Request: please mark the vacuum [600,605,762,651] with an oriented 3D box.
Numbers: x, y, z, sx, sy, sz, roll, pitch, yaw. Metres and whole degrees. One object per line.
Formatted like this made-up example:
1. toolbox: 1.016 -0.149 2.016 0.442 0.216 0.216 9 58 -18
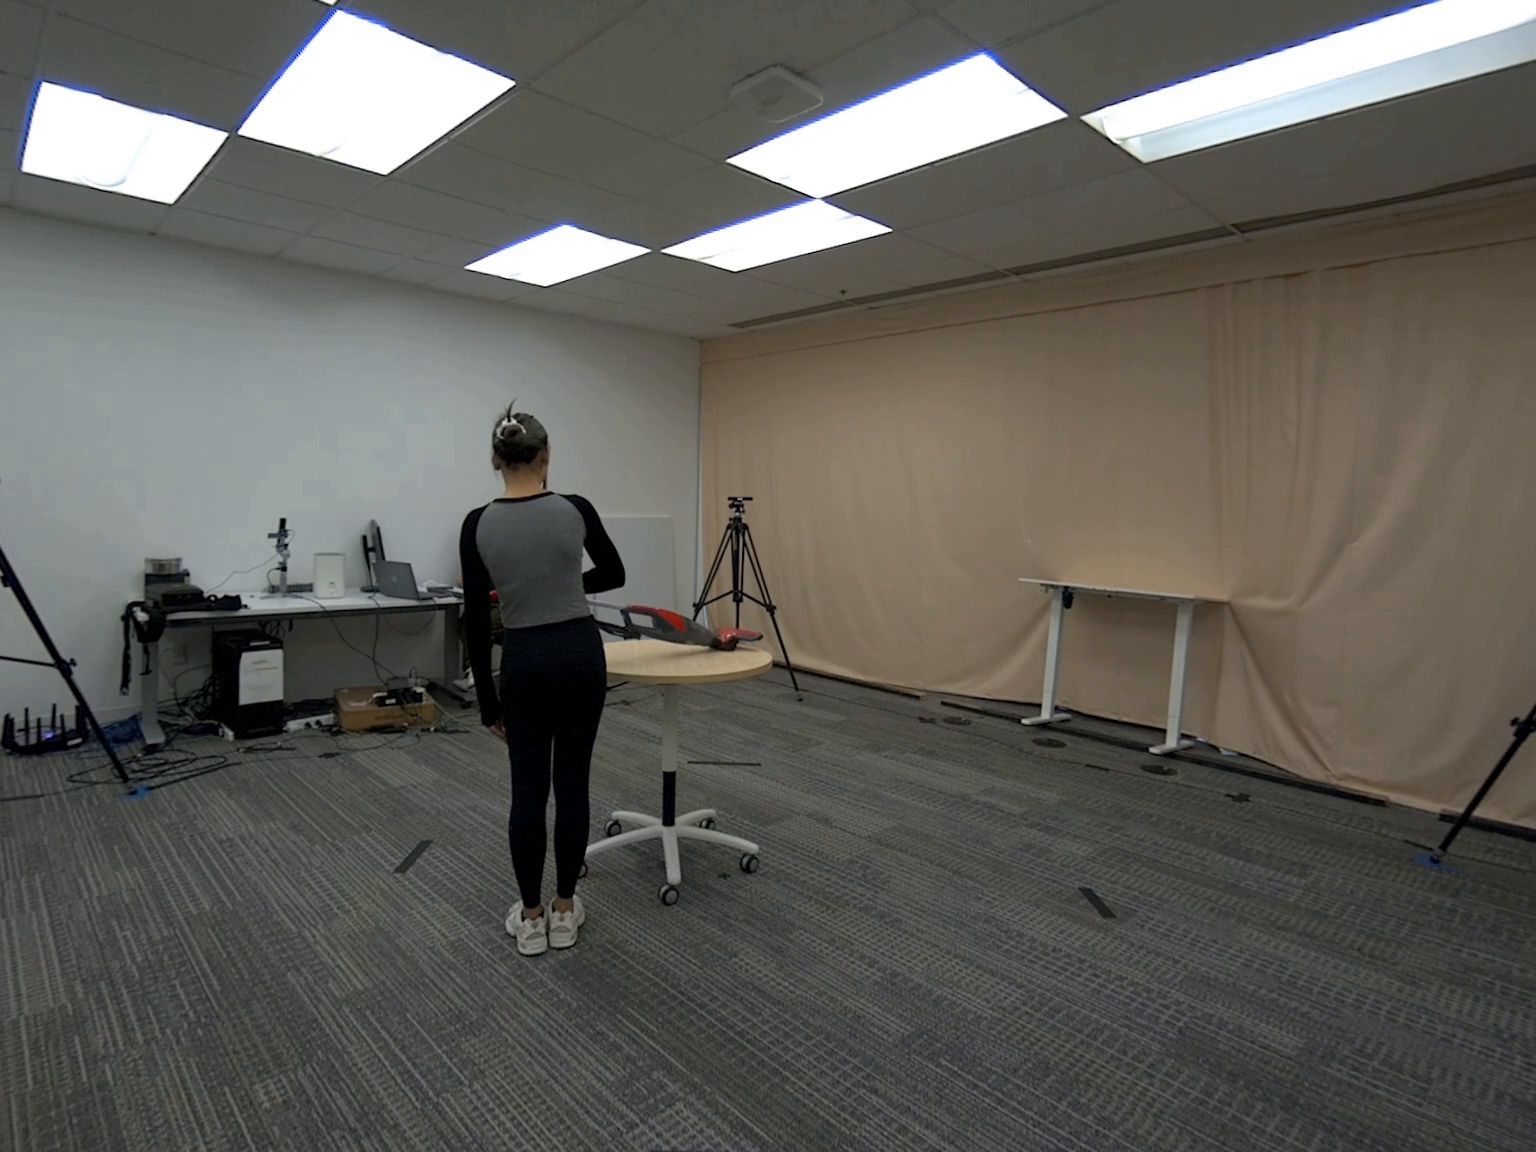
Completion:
1. vacuum: -0.522 0.170 3.052 1.020 0.144 0.259 14 -4 -43
